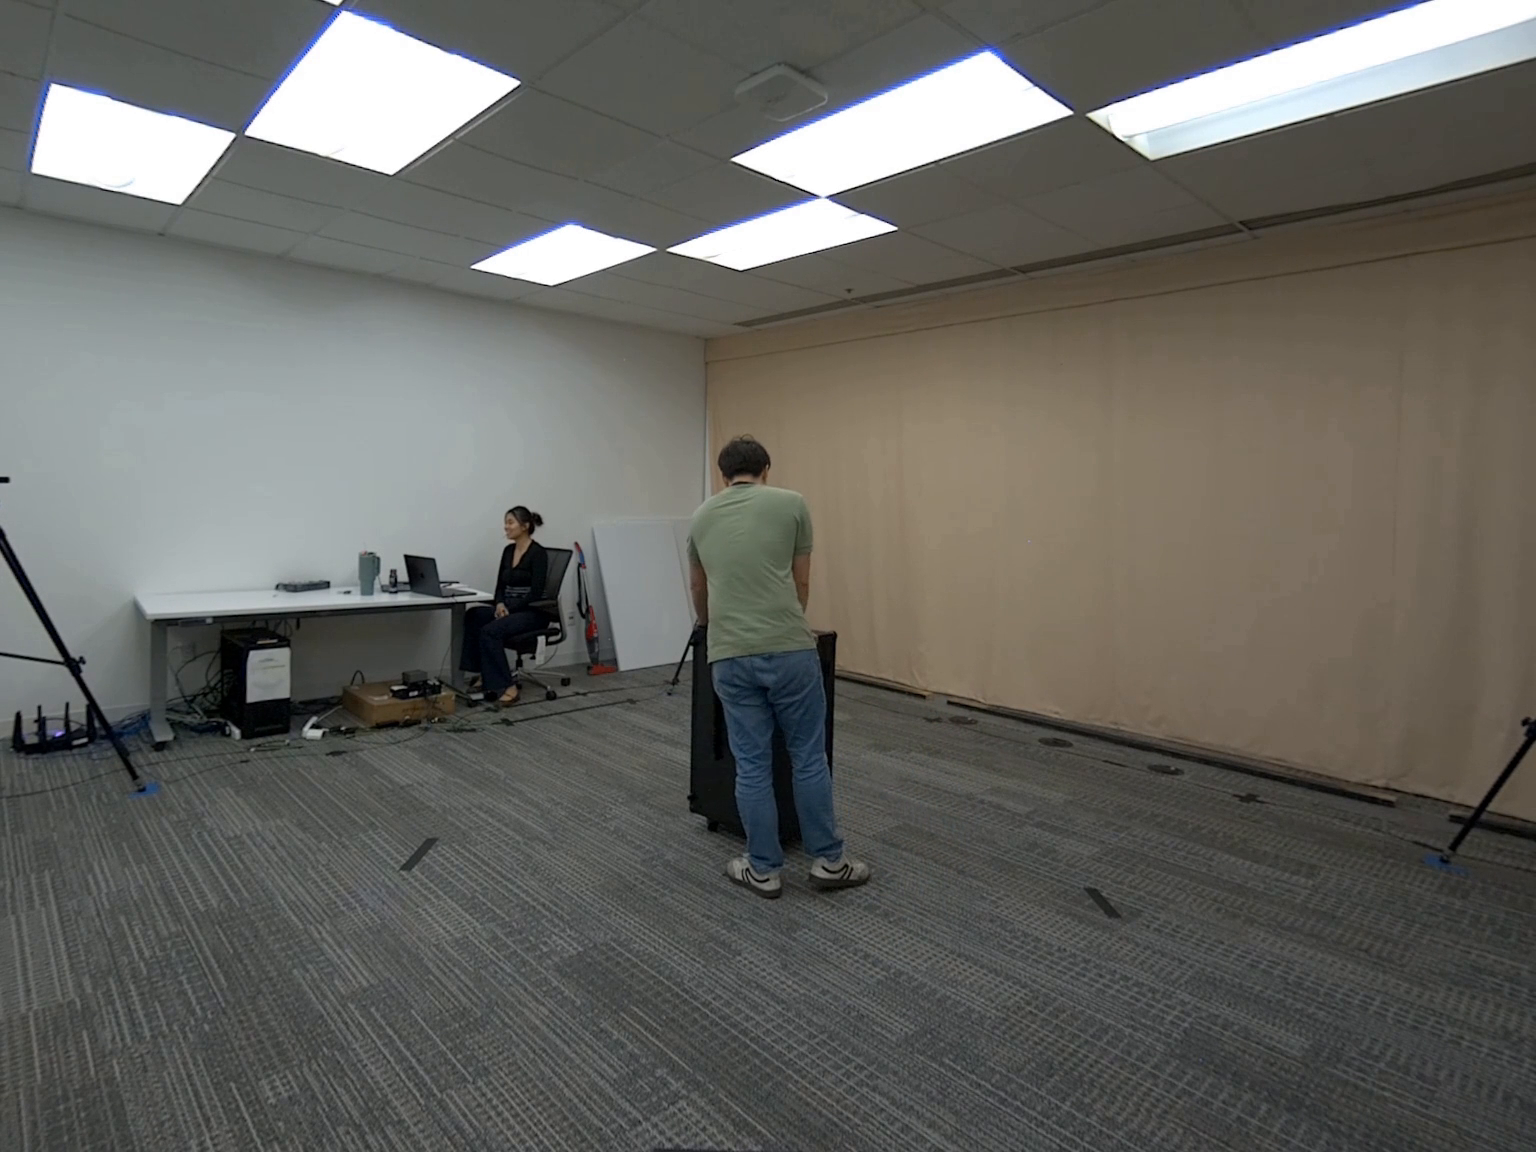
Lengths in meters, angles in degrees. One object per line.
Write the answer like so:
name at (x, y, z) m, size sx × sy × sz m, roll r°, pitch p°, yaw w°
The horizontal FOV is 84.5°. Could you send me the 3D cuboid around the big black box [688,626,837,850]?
big black box at (-0.032, 0.647, 3.477) m, size 0.534 × 0.859 × 0.387 m, roll 5°, pitch 4°, yaw 41°
